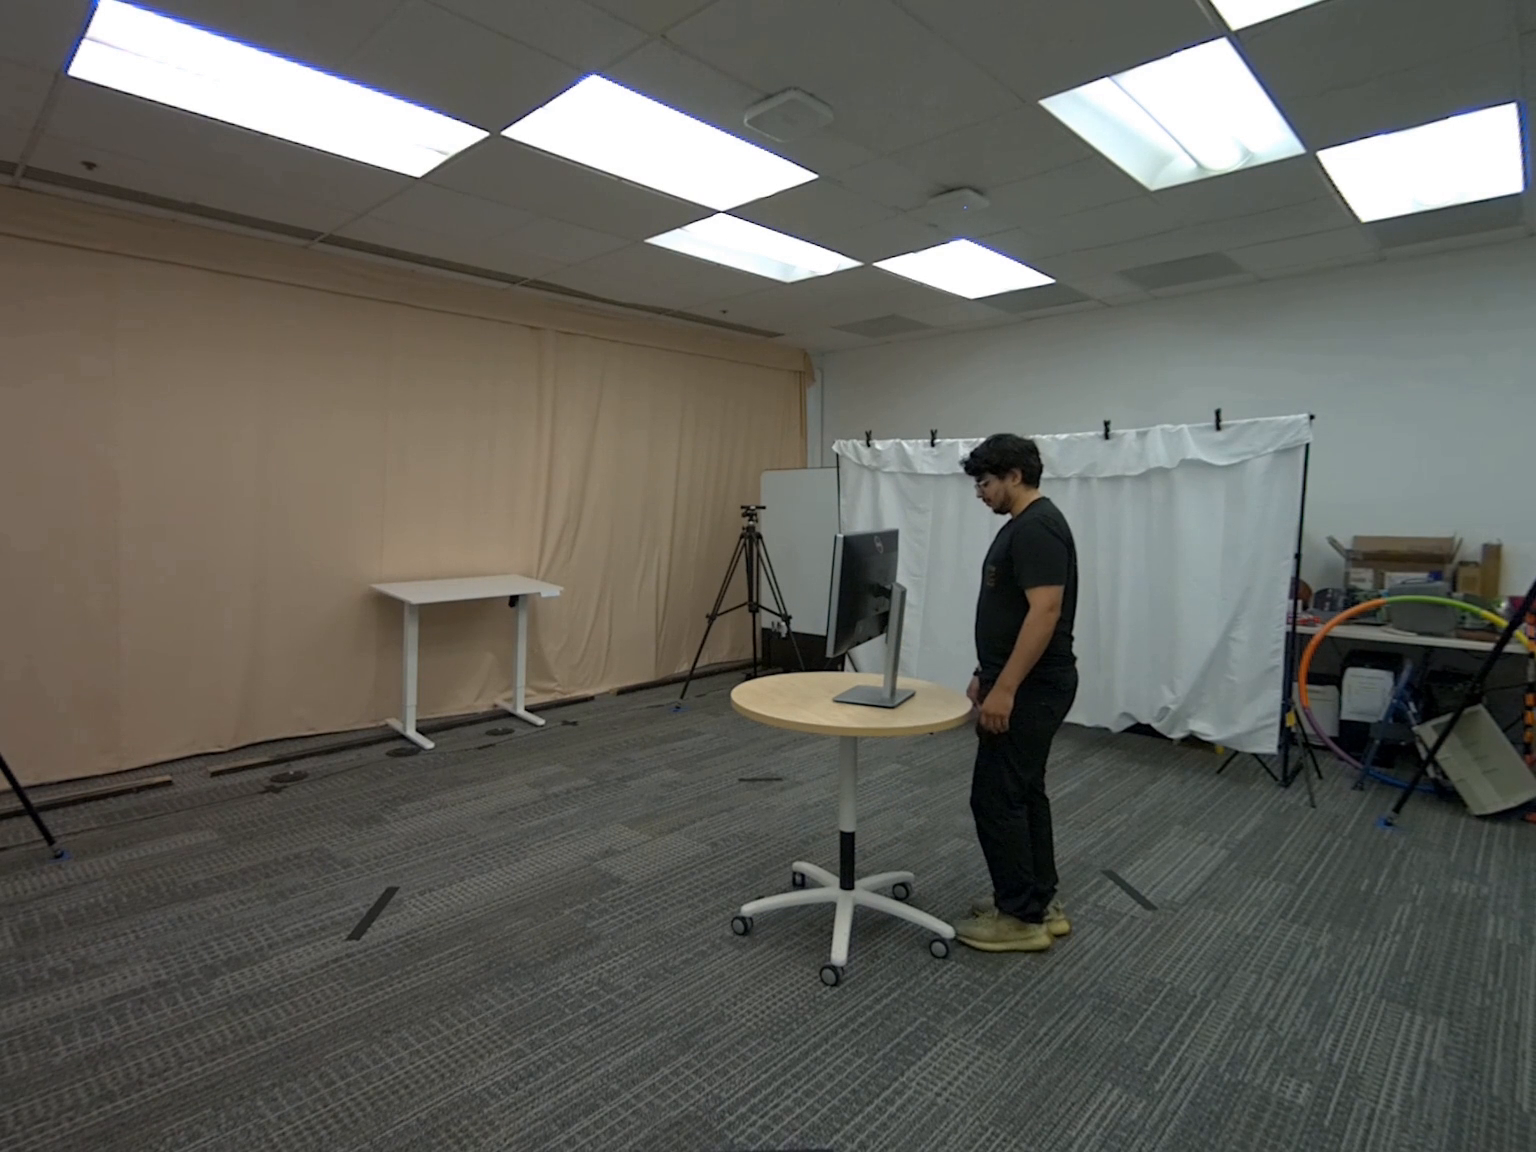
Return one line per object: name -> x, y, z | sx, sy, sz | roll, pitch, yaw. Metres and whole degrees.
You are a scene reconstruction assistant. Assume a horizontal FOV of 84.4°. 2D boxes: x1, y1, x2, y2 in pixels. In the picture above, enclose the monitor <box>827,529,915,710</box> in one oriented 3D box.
monitor -> 0.375, 0.134, 2.668 | 0.216, 0.552, 0.551 | 4, 5, 27
